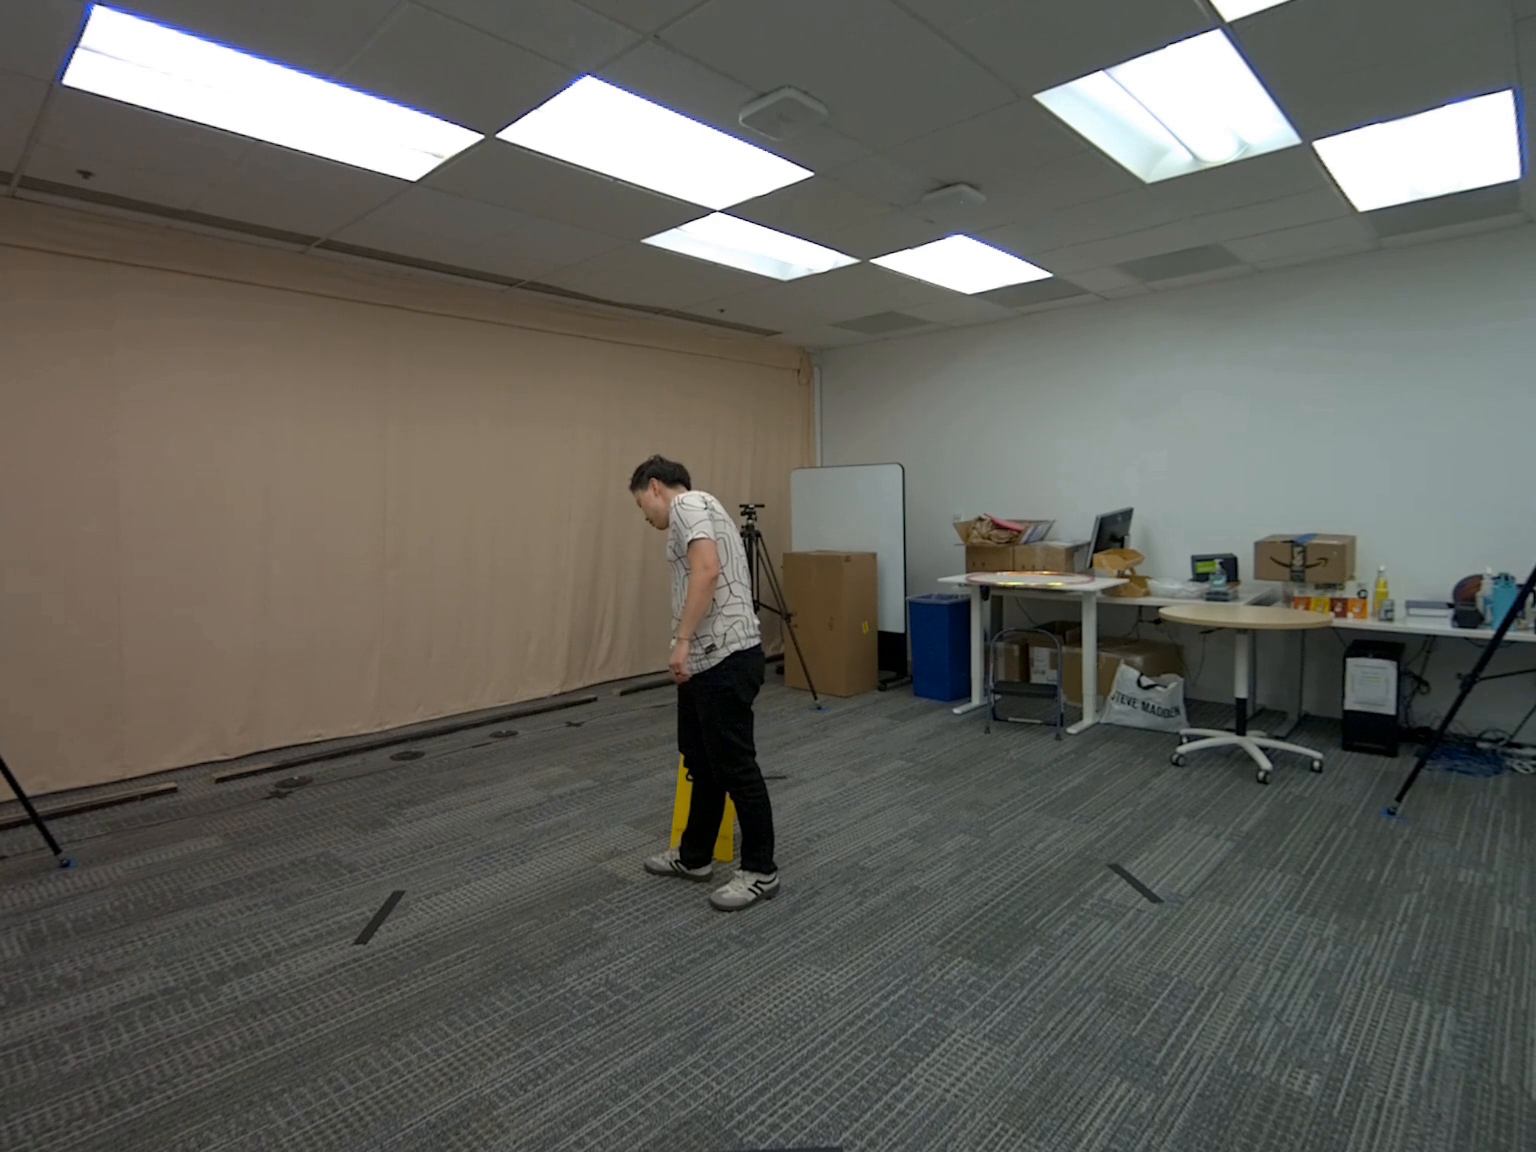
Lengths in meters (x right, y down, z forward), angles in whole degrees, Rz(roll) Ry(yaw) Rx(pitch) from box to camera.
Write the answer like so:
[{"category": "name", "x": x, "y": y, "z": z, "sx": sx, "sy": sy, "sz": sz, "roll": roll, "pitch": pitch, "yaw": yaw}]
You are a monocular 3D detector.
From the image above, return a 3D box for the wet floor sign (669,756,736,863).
[{"category": "wet floor sign", "x": -0.219, "y": 0.778, "z": 3.454, "sx": 0.289, "sy": 0.644, "sz": 0.283, "roll": -1, "pitch": 4, "yaw": 26}]
